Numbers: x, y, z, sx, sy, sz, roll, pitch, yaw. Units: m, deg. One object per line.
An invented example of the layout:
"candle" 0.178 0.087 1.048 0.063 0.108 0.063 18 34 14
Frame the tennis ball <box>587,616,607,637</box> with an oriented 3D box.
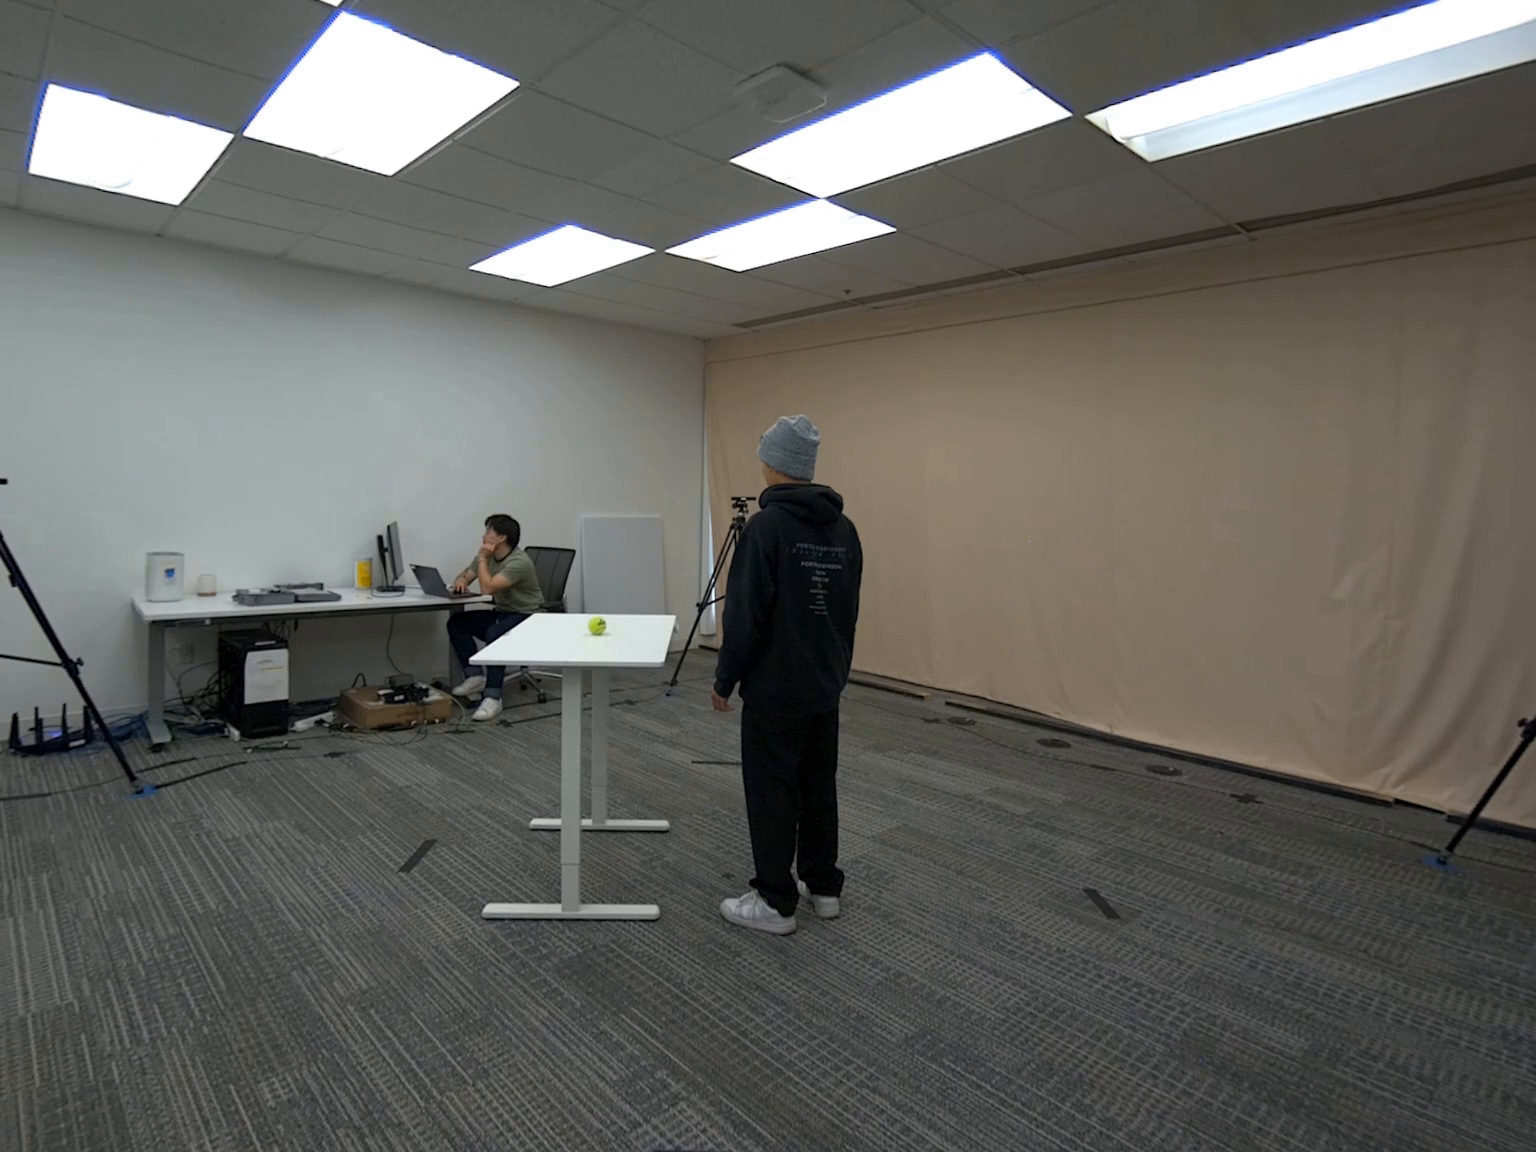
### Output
"tennis ball" -0.624 0.182 3.085 0.066 0.066 0.067 1 4 -1
